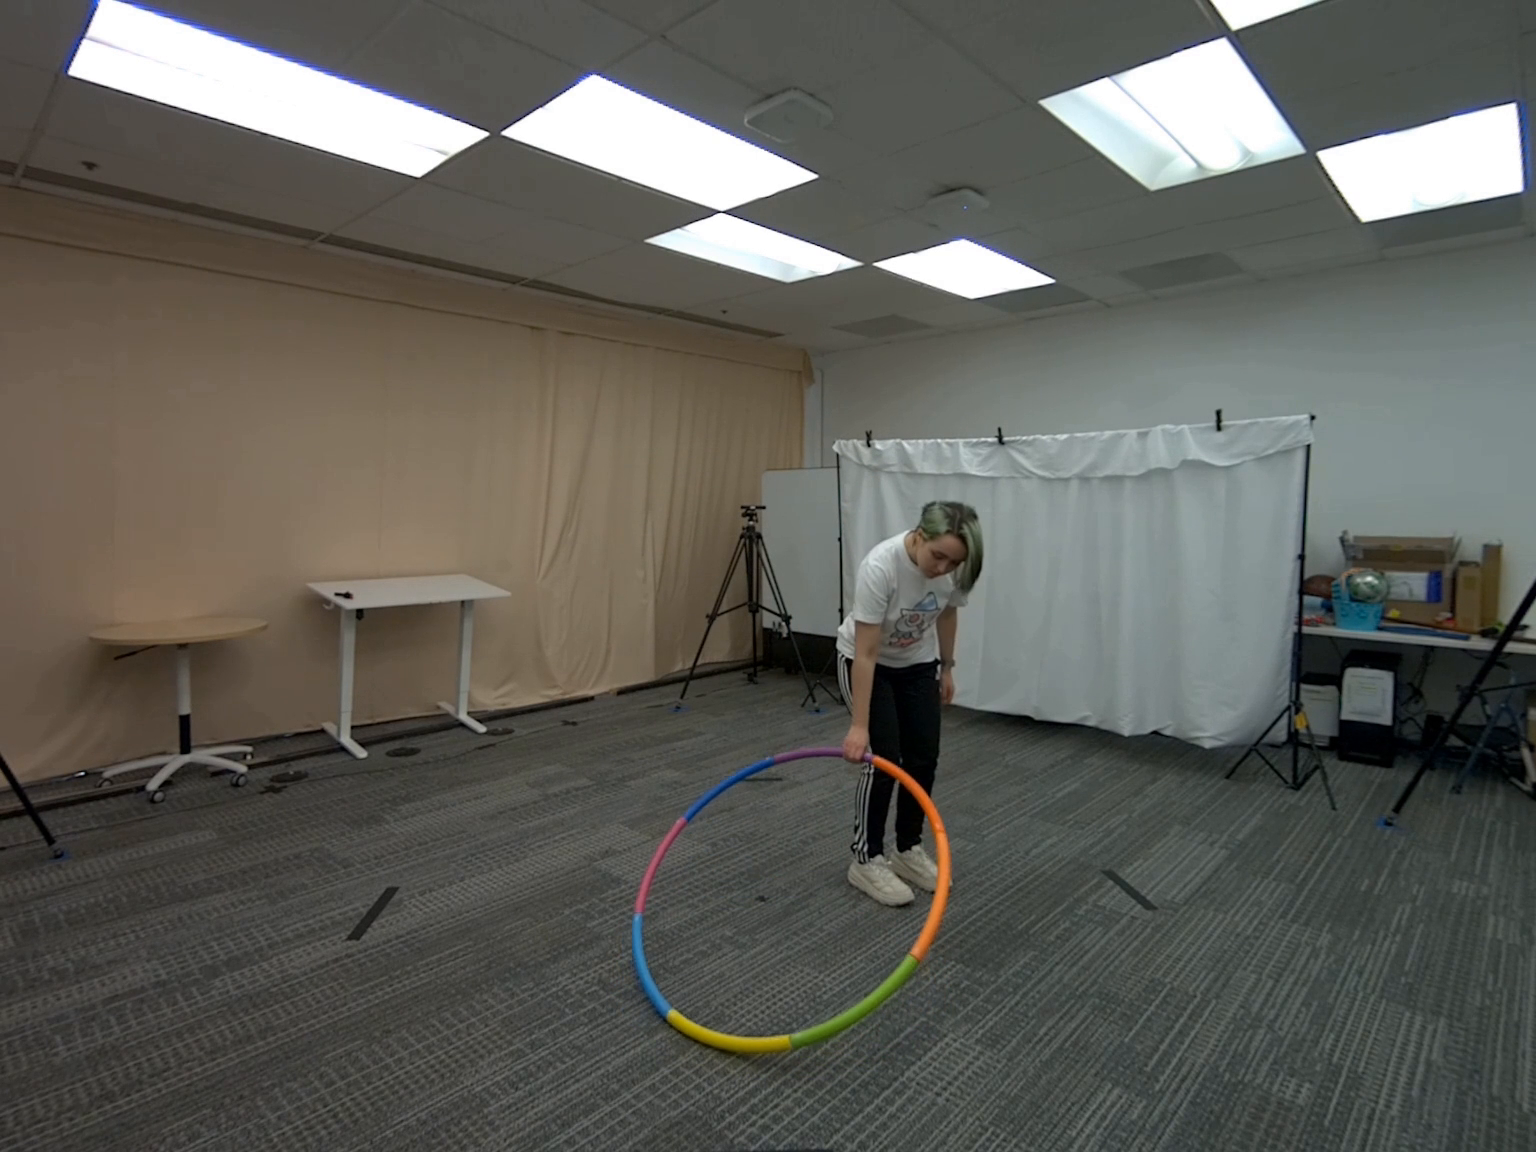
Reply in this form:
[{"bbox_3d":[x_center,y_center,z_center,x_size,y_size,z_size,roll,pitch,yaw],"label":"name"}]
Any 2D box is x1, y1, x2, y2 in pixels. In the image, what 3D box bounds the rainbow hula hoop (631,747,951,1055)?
[{"bbox_3d":[0.057,0.883,2.499,0.987,0.034,0.996,-21,31,10],"label":"rainbow hula hoop"}]
